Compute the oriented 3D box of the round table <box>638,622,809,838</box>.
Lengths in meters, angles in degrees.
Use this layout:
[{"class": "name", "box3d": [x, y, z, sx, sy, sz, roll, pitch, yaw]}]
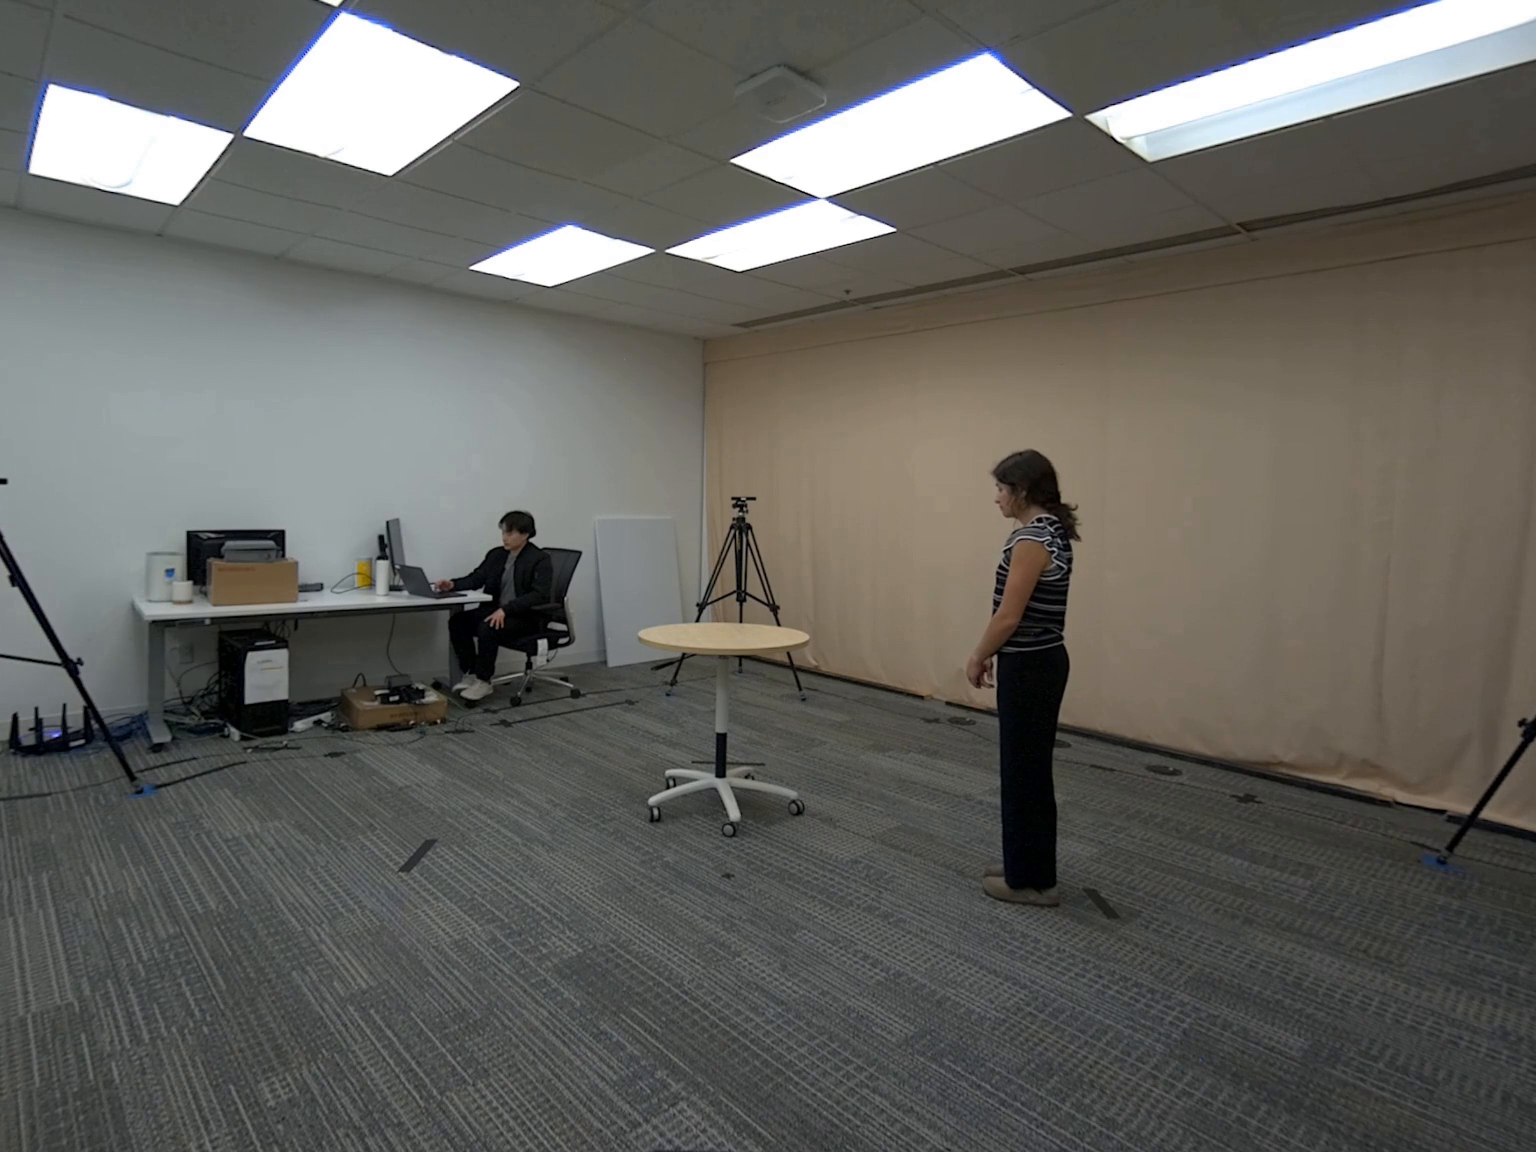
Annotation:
[{"class": "round table", "box3d": [-0.223, 0.658, 3.783, 0.763, 0.792, 0.766, 1, 3, -1]}]
